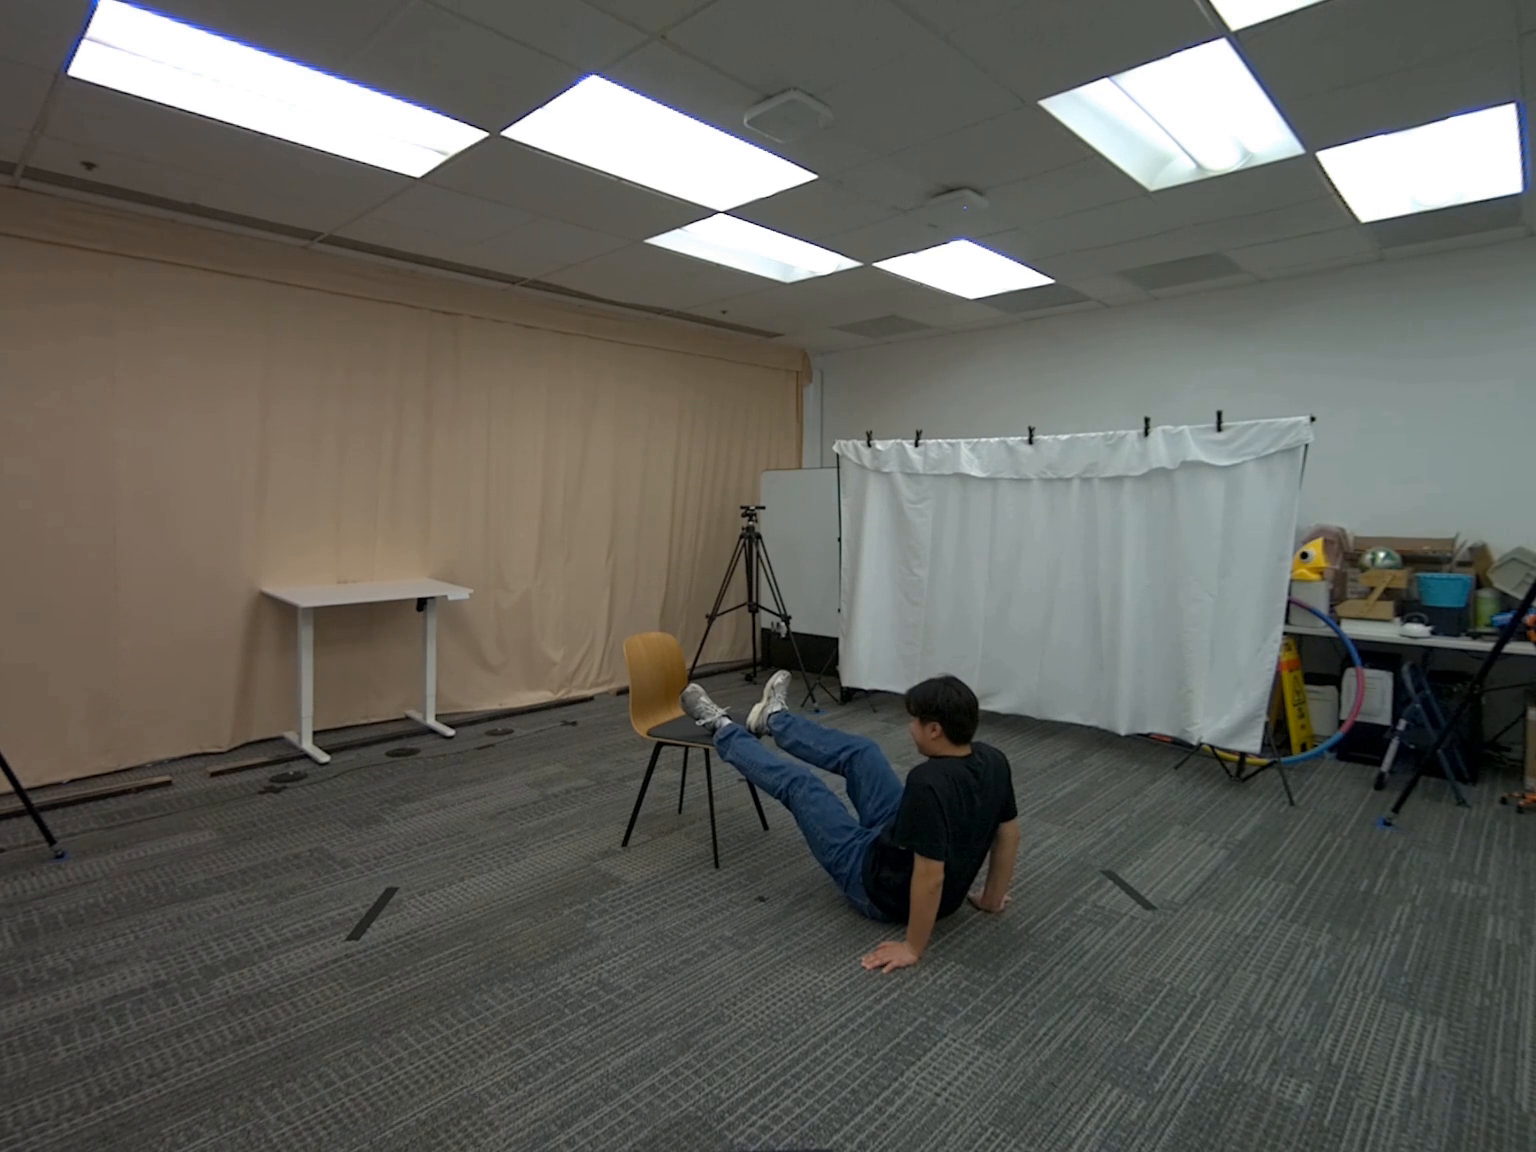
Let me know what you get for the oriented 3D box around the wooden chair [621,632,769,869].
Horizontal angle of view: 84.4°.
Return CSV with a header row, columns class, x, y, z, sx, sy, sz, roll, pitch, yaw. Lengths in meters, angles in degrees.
class,x,y,z,sx,sy,sz,roll,pitch,yaw
wooden chair,-0.294,0.675,3.502,0.537,0.877,0.466,-3,1,28
